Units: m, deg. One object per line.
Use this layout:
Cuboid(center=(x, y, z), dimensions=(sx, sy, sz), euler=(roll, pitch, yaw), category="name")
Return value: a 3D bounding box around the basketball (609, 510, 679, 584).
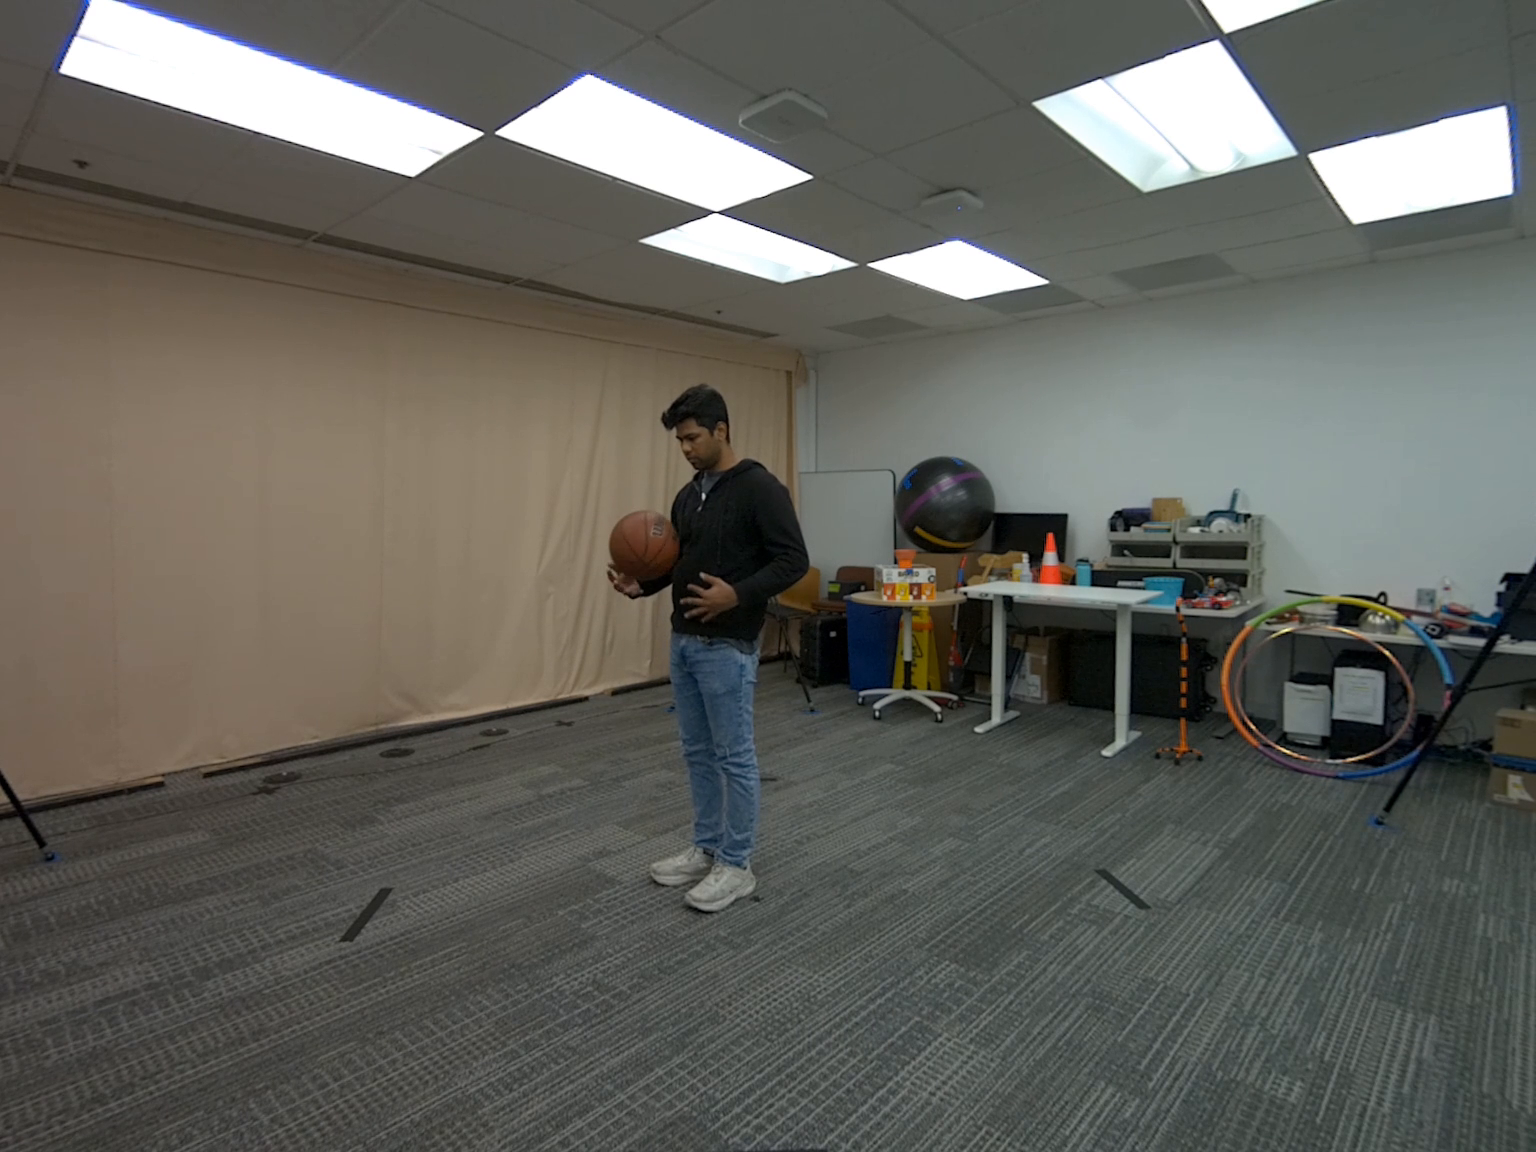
Cuboid(center=(-0.400, -0.088, 2.866), dimensions=(0.236, 0.235, 0.237), euler=(0, 4, -2), category="basketball")
